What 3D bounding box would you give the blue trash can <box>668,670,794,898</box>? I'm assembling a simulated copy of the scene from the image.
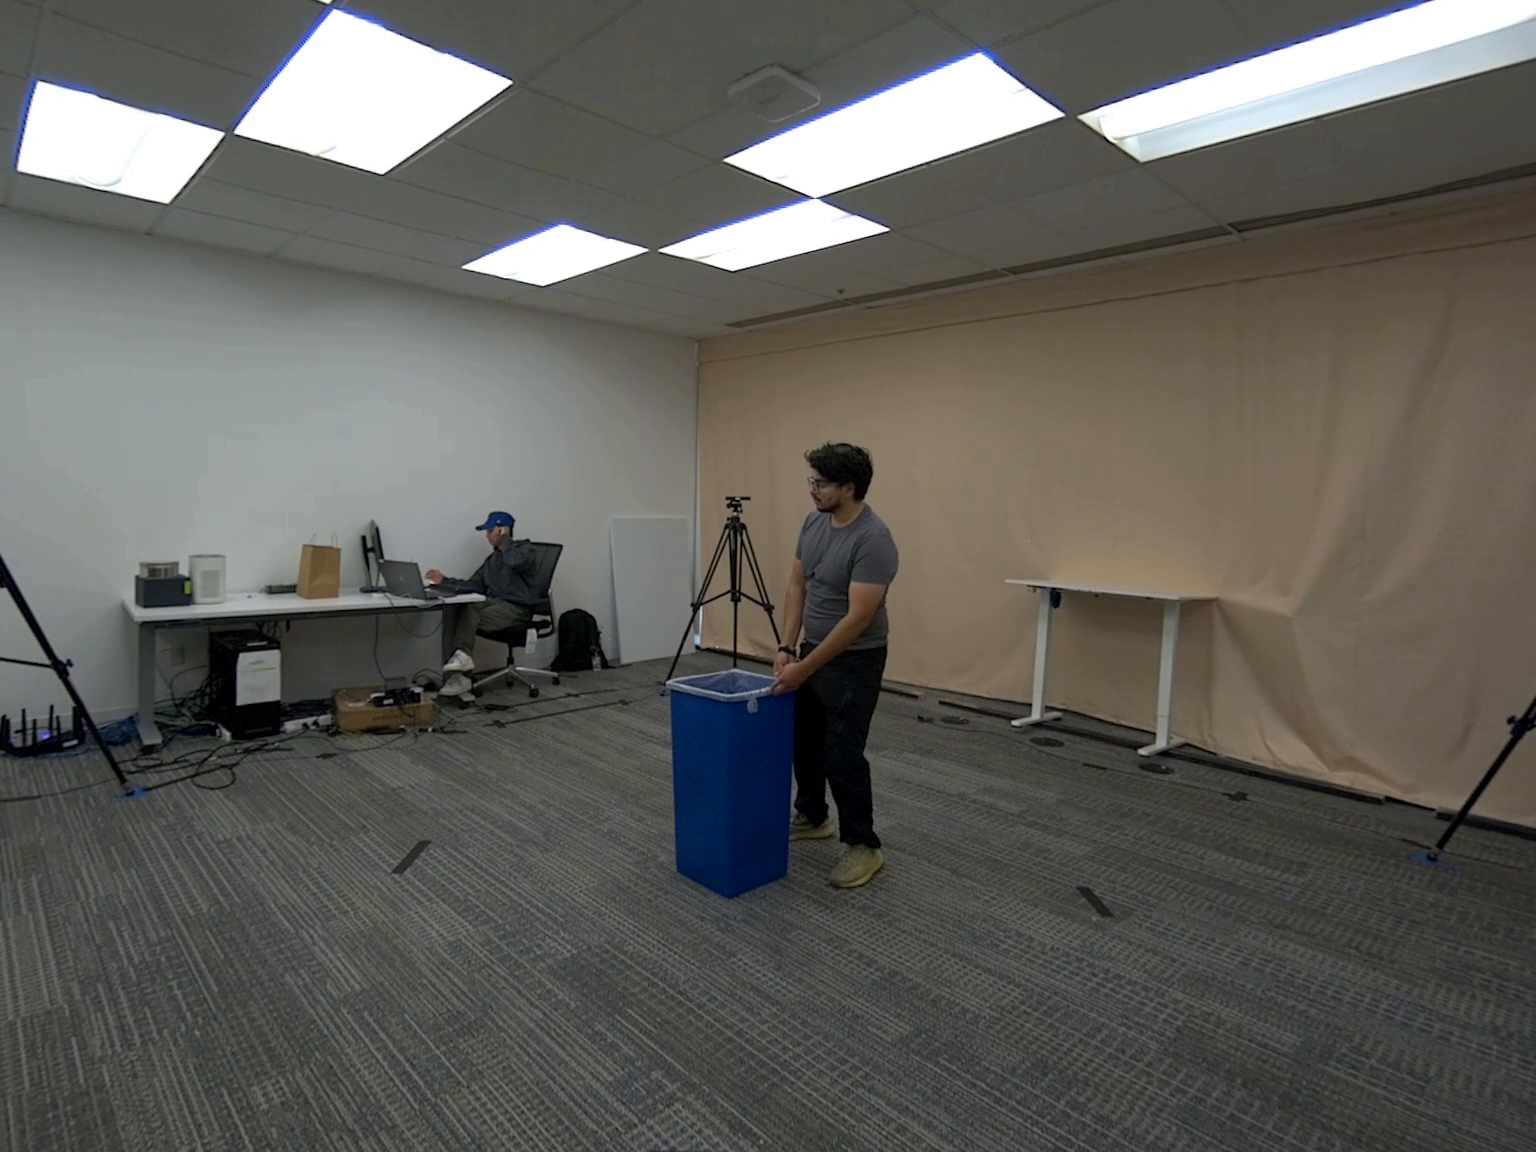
[{"bbox_3d":[-0.143,0.749,3.109,0.387,0.713,0.365,2,2,45],"label":"blue trash can"}]
